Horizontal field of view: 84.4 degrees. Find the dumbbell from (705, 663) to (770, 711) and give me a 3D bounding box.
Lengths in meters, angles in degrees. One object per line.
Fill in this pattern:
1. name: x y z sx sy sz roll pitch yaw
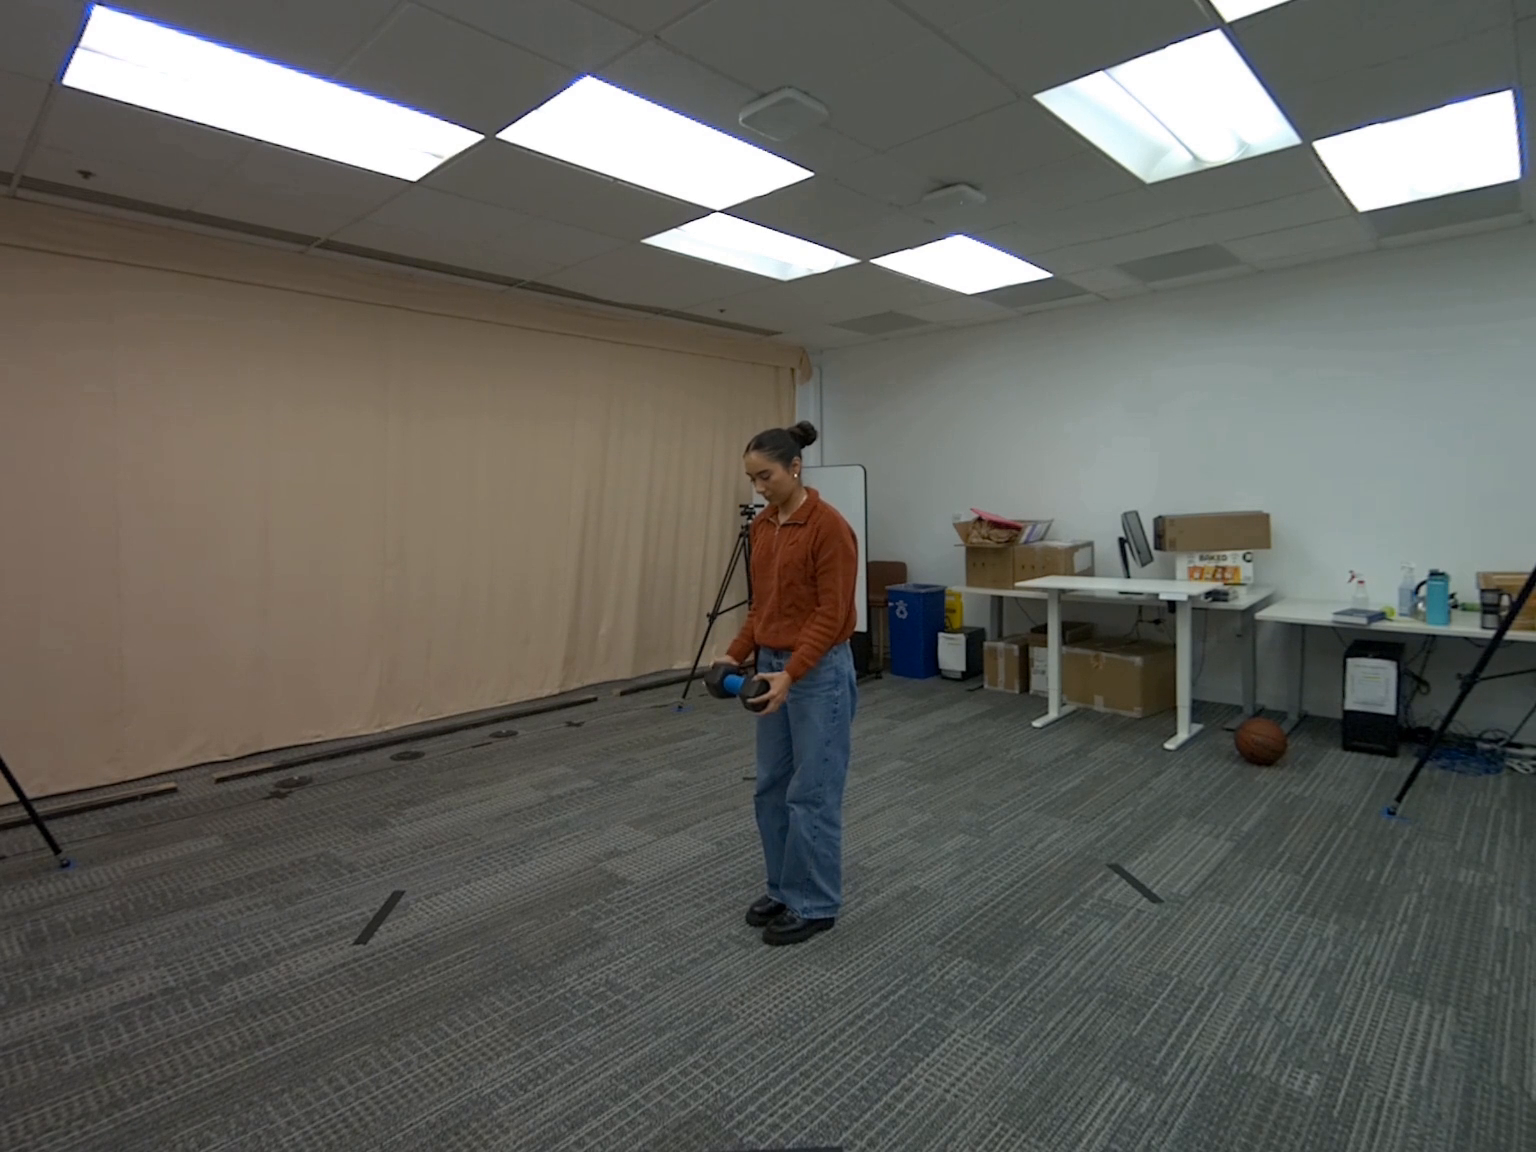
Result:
1. dumbbell: -0.073 0.343 2.678 0.105 0.123 0.303 36 -16 -31
